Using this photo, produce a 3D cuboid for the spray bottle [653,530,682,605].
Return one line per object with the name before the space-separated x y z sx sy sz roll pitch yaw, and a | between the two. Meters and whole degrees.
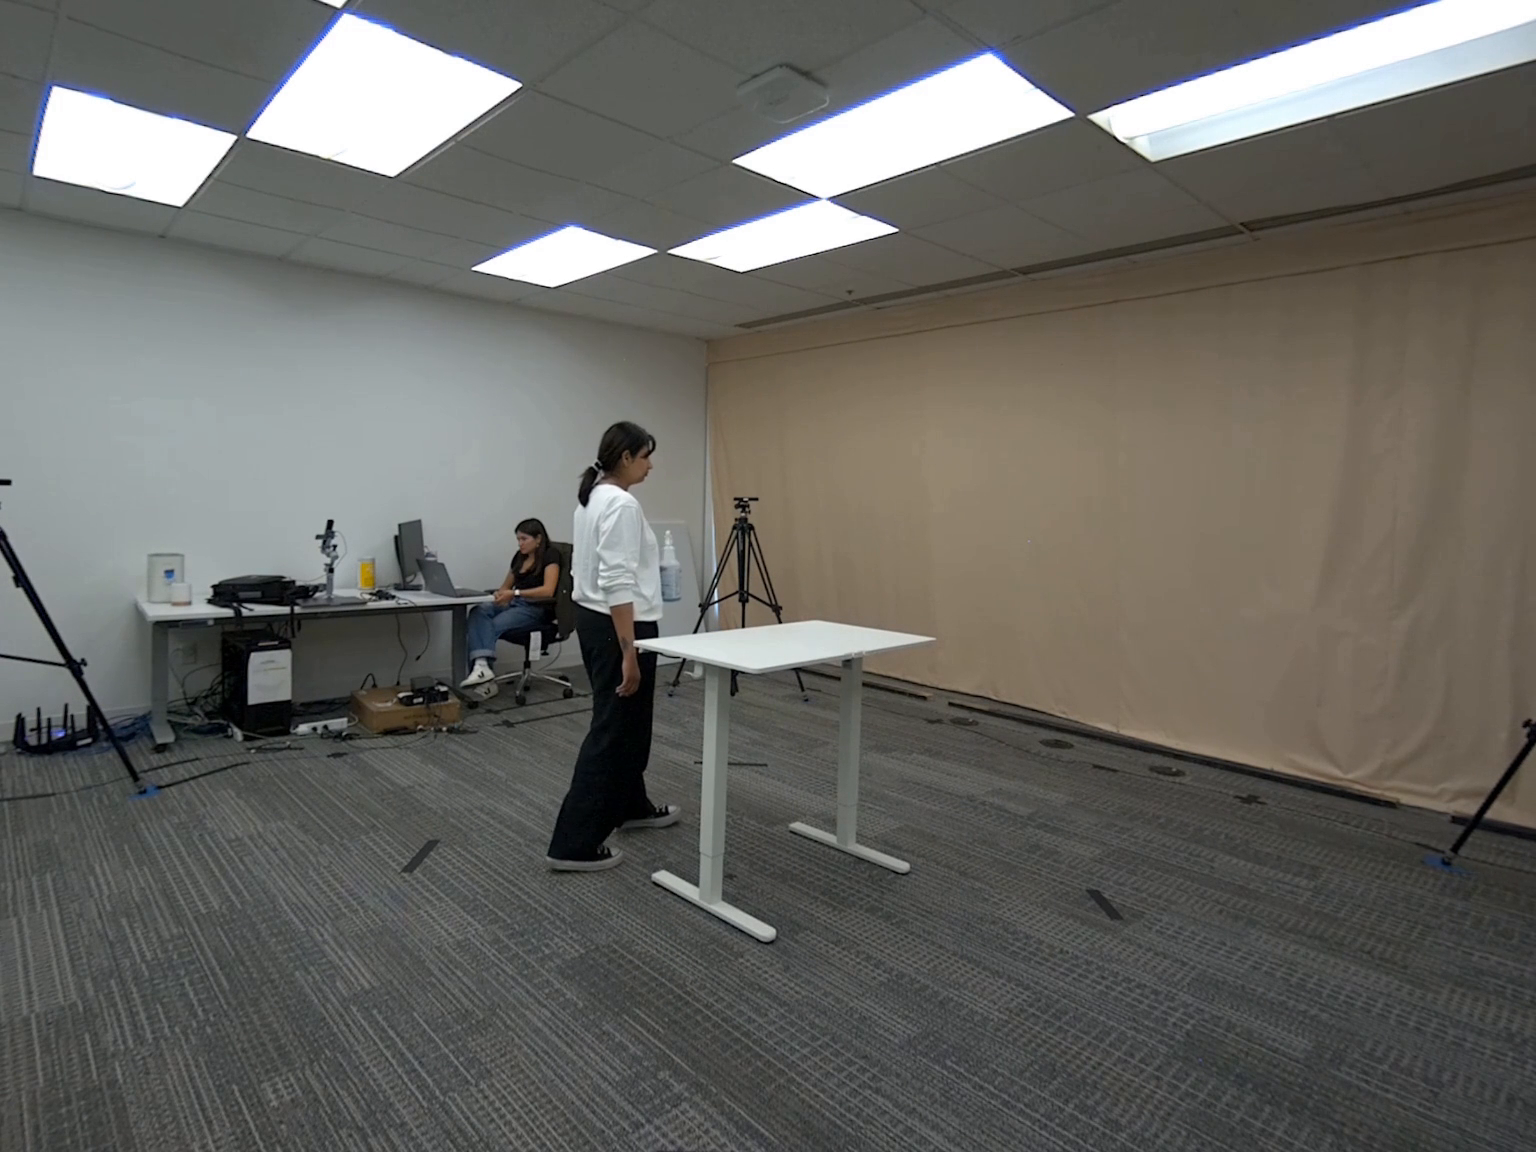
spray bottle | -0.427 -0.040 3.511 0.089 0.296 0.088 2 6 32
